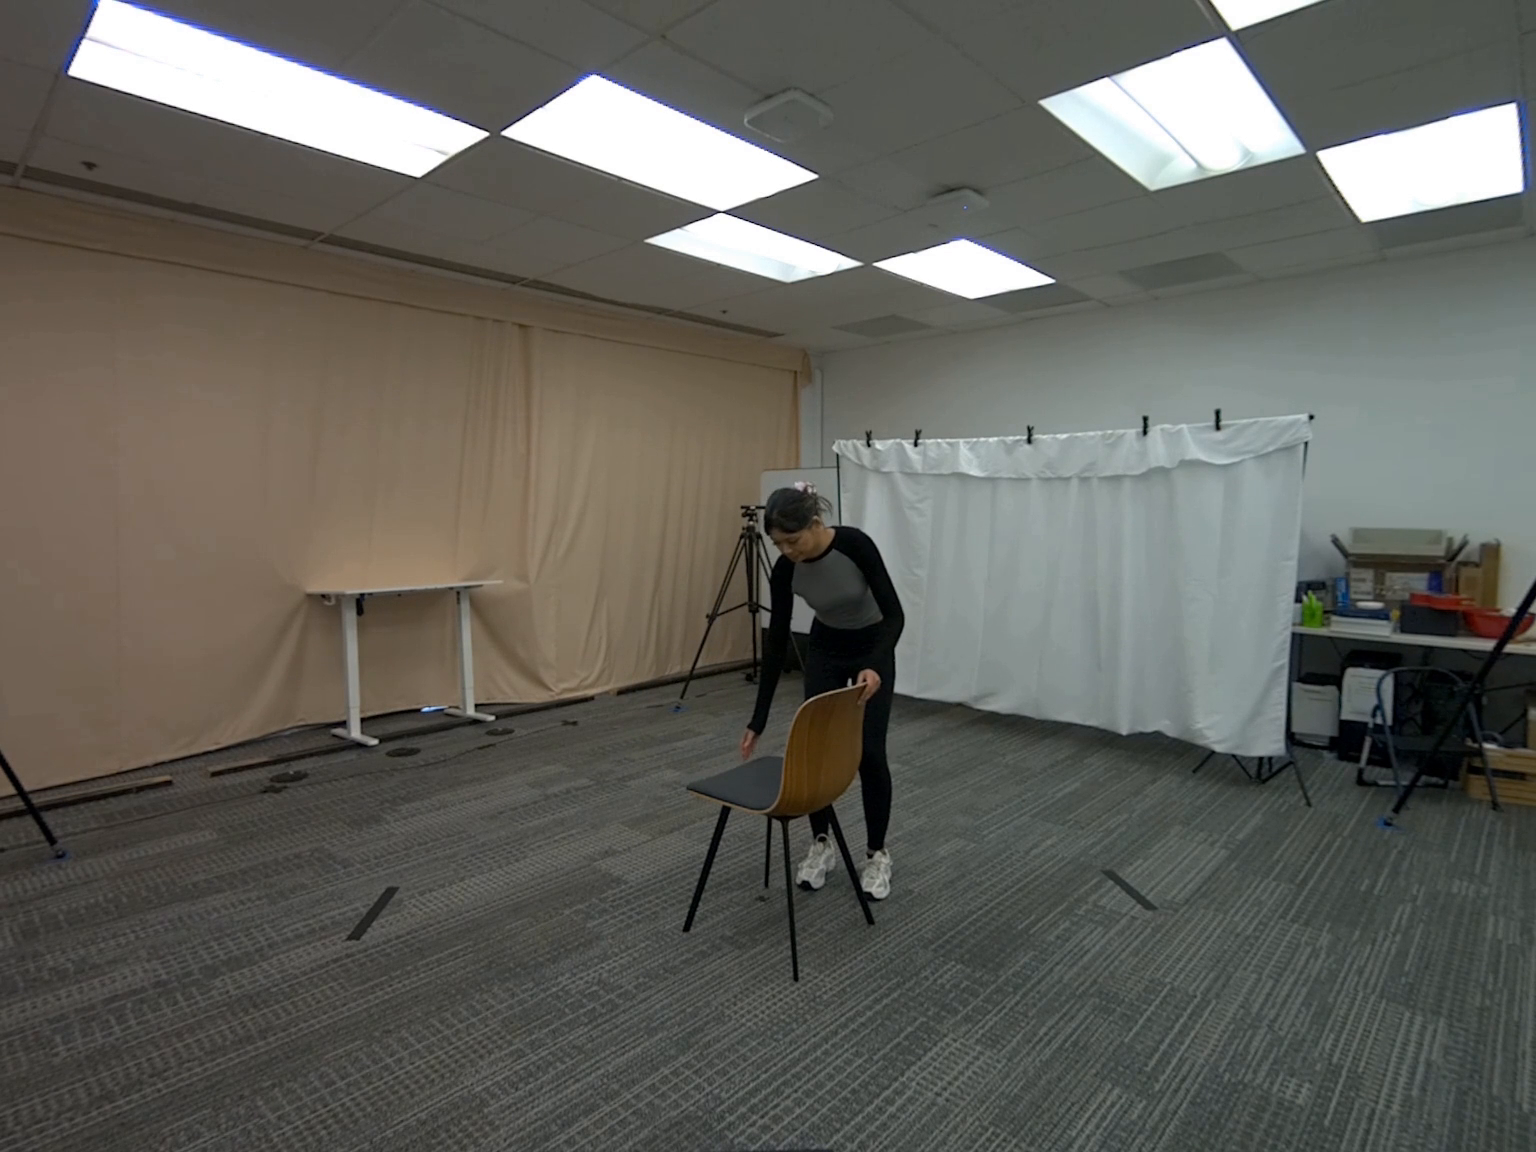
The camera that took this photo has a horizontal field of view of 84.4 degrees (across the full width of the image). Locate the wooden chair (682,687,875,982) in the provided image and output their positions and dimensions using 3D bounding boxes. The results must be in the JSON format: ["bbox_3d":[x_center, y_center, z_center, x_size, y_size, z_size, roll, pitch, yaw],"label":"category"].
[{"bbox_3d":[0.028,0.739,2.741,0.541,0.874,0.464,9,8,38],"label":"wooden chair"}]
